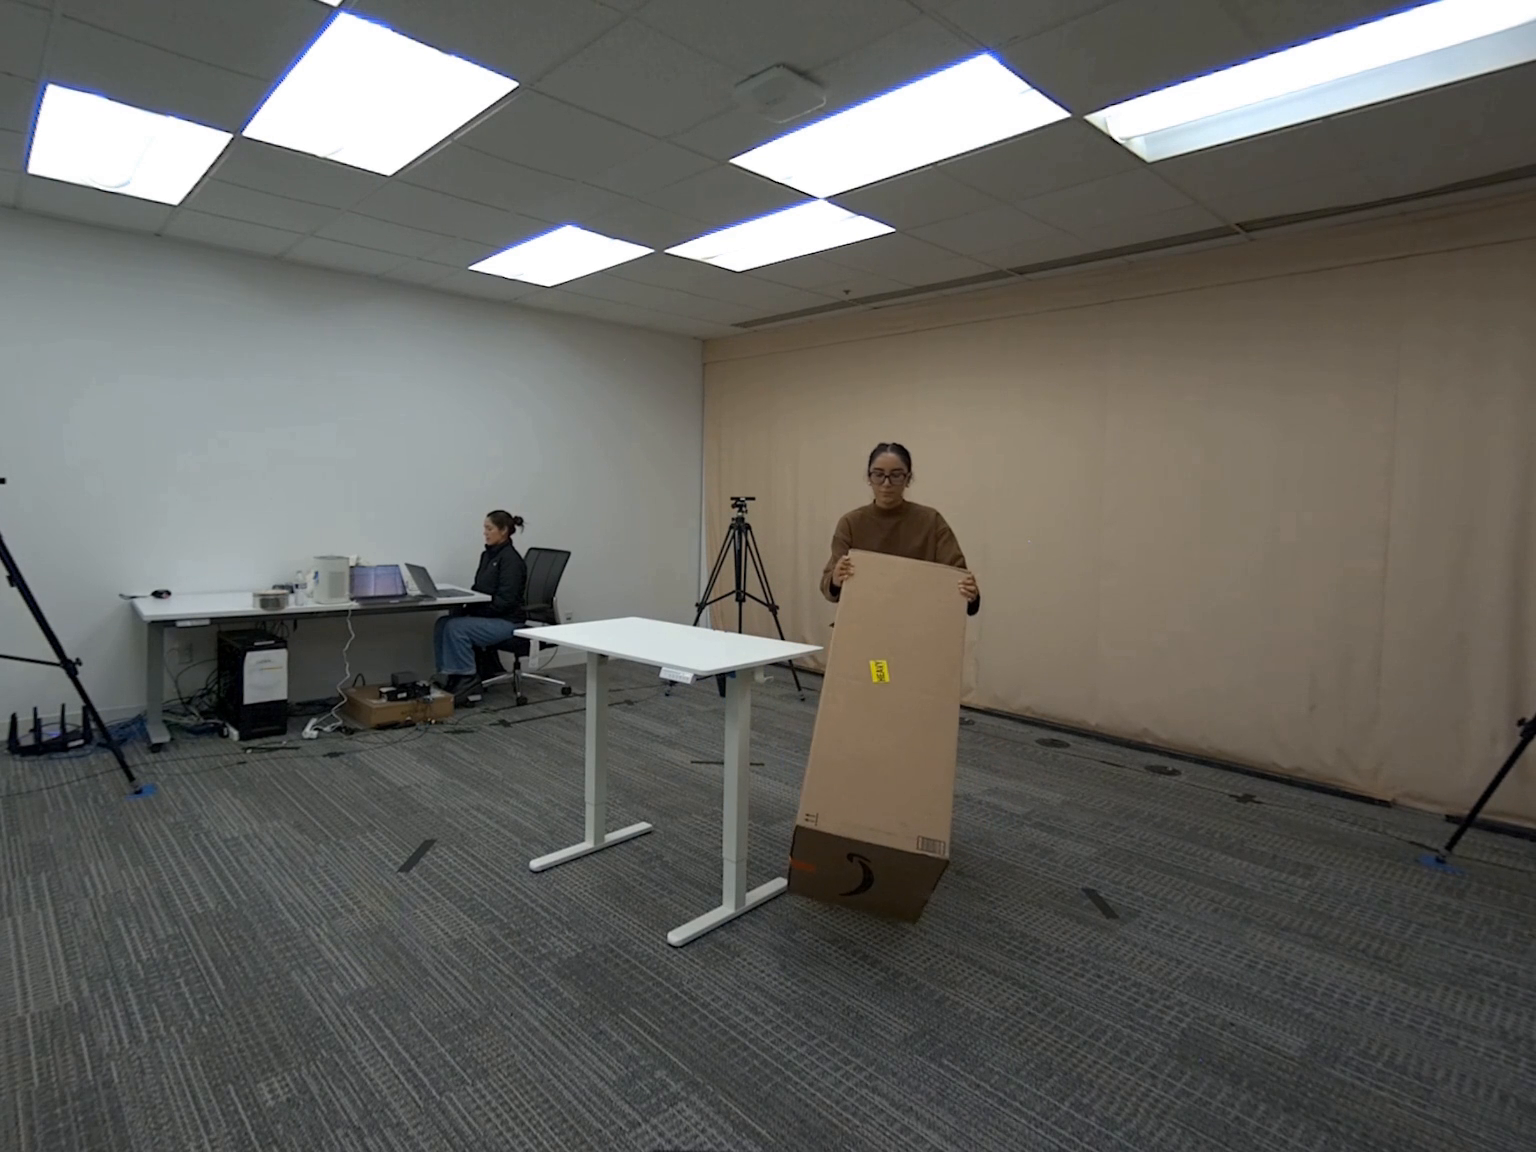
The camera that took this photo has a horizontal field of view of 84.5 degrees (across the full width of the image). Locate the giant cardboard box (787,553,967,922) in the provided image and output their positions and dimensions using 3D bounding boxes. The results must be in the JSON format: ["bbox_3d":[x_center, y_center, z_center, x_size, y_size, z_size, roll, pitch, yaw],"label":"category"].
[{"bbox_3d":[0.372,0.516,2.831,0.429,1.040,0.565,10,-38,7],"label":"giant cardboard box"}]
